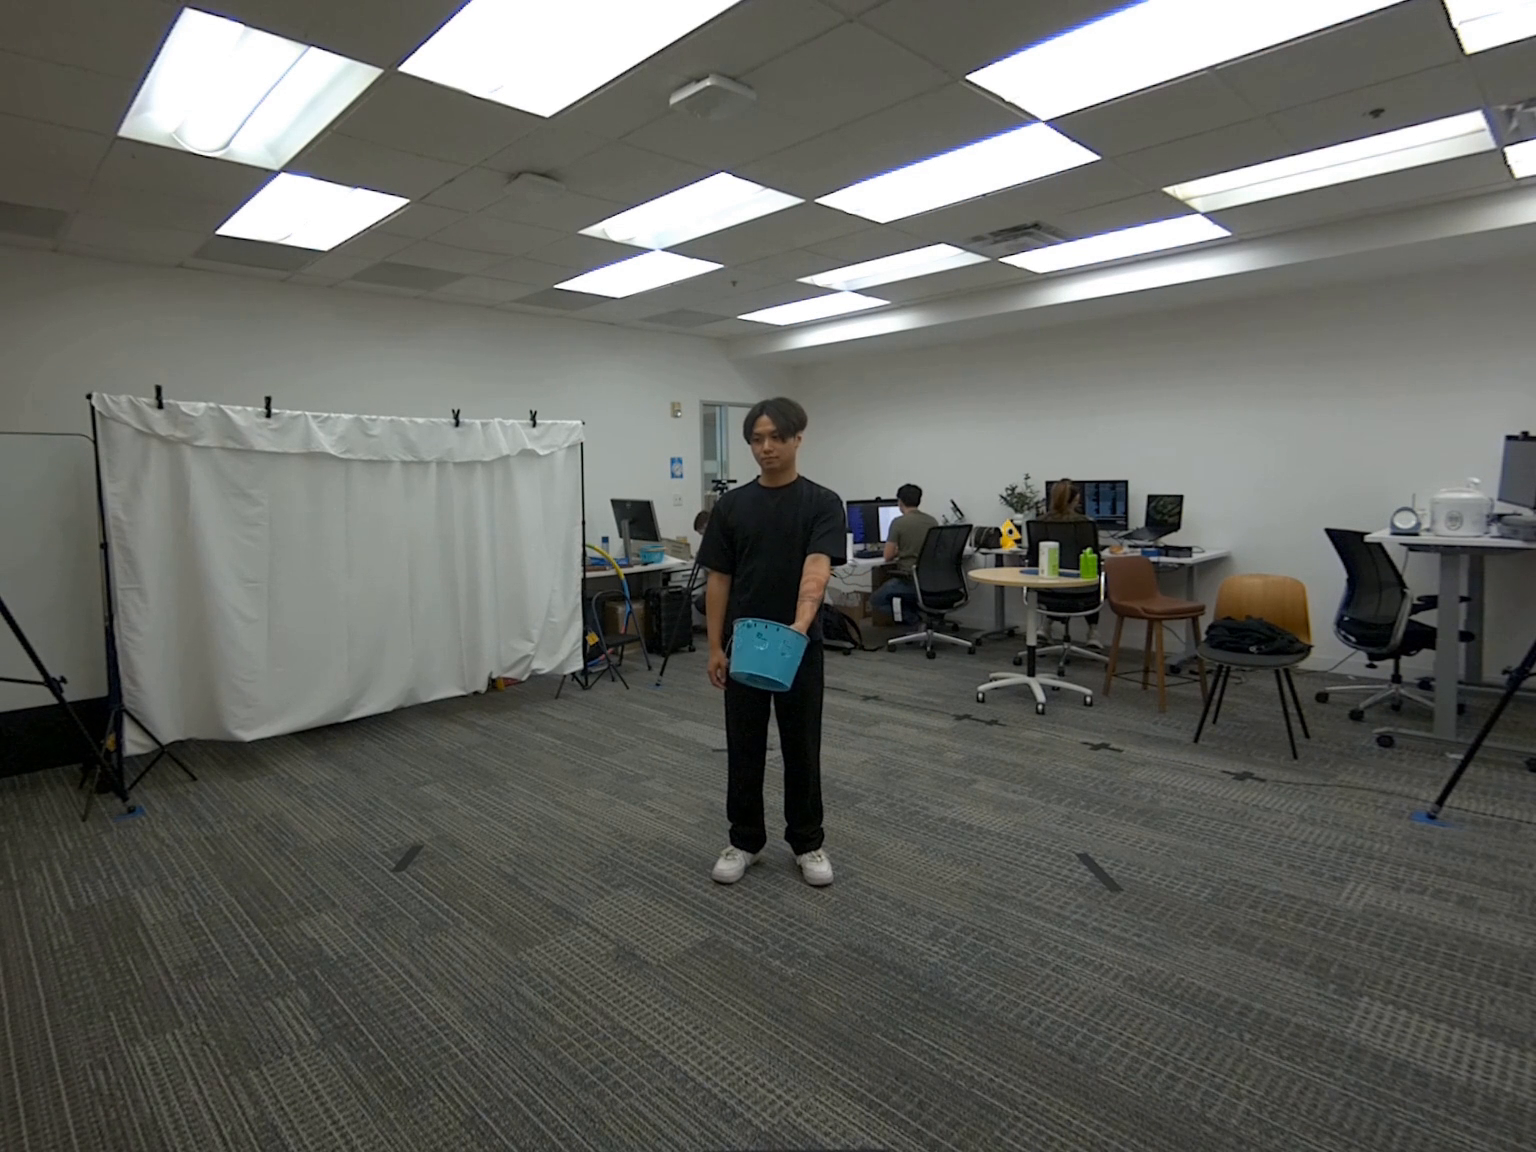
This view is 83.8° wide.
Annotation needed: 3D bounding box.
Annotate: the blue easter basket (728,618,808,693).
[{"bbox_3d":[-0.003,0.253,2.518,0.245,0.157,0.240,14,-18,3],"label":"blue easter basket"}]
